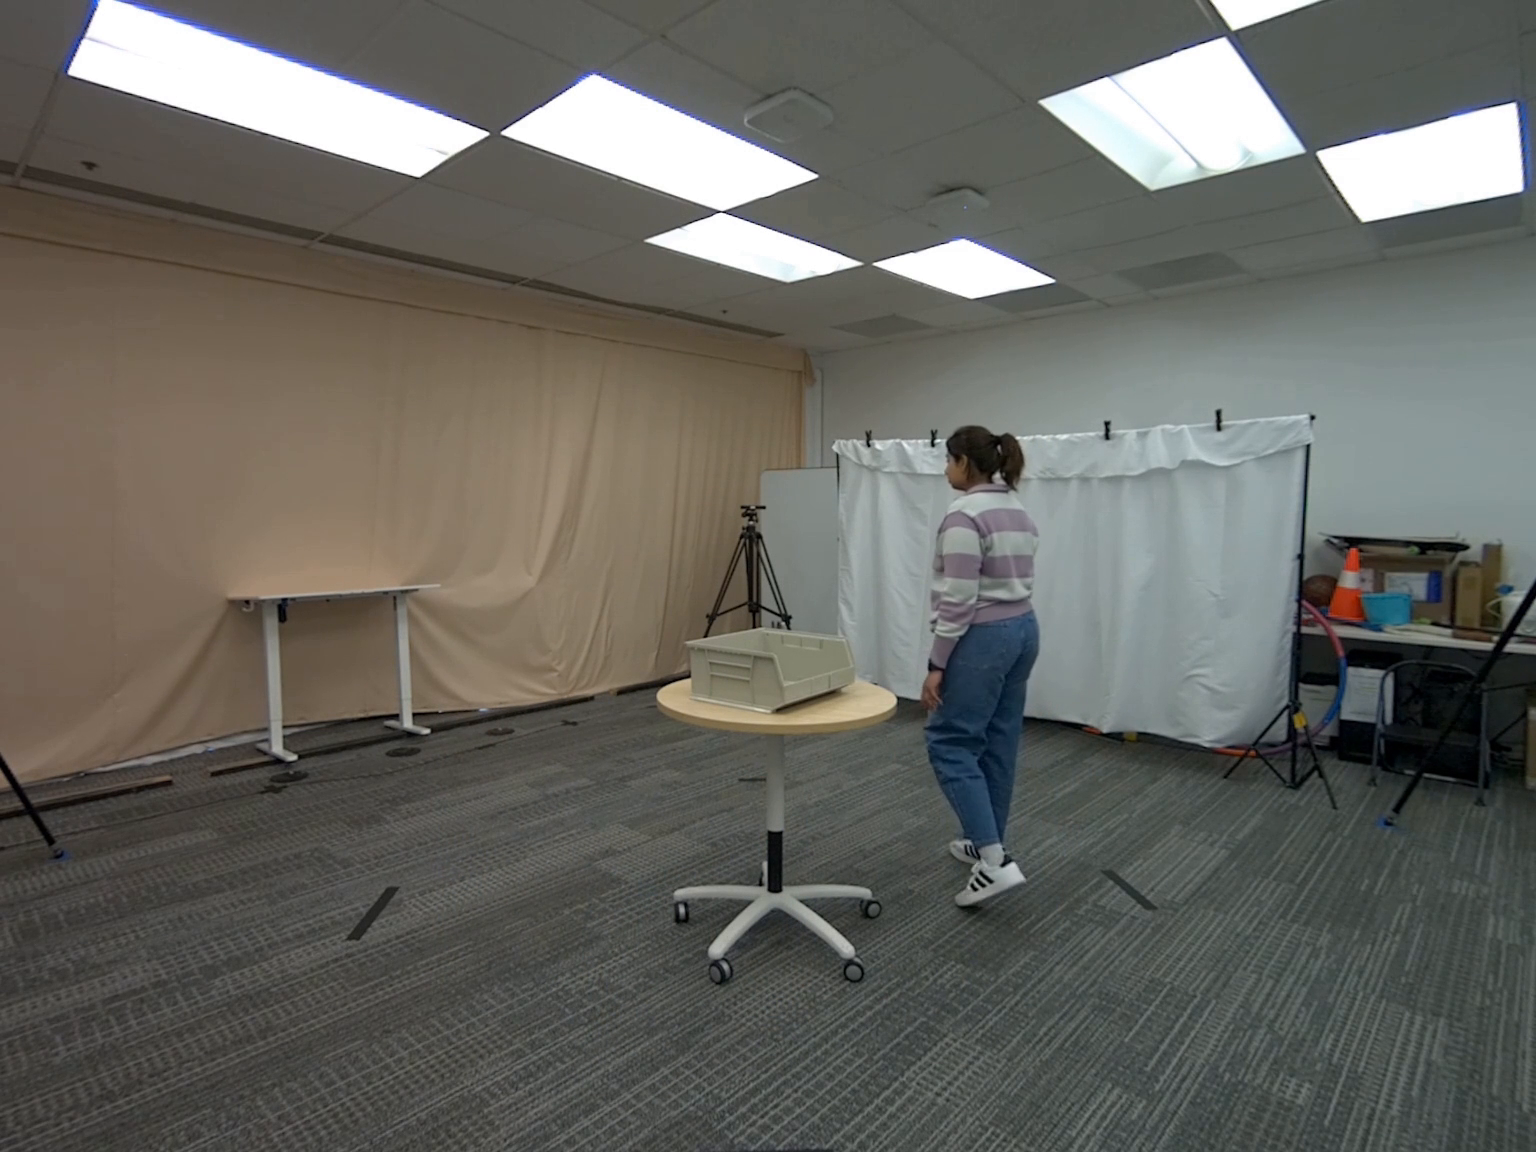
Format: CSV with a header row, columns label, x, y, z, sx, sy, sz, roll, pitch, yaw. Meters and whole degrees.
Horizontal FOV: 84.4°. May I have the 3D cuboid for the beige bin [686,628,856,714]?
label,x,y,z,sx,sy,sz,roll,pitch,yaw
beige bin,0.016,0.295,2.687,0.389,0.188,0.410,1,4,37
